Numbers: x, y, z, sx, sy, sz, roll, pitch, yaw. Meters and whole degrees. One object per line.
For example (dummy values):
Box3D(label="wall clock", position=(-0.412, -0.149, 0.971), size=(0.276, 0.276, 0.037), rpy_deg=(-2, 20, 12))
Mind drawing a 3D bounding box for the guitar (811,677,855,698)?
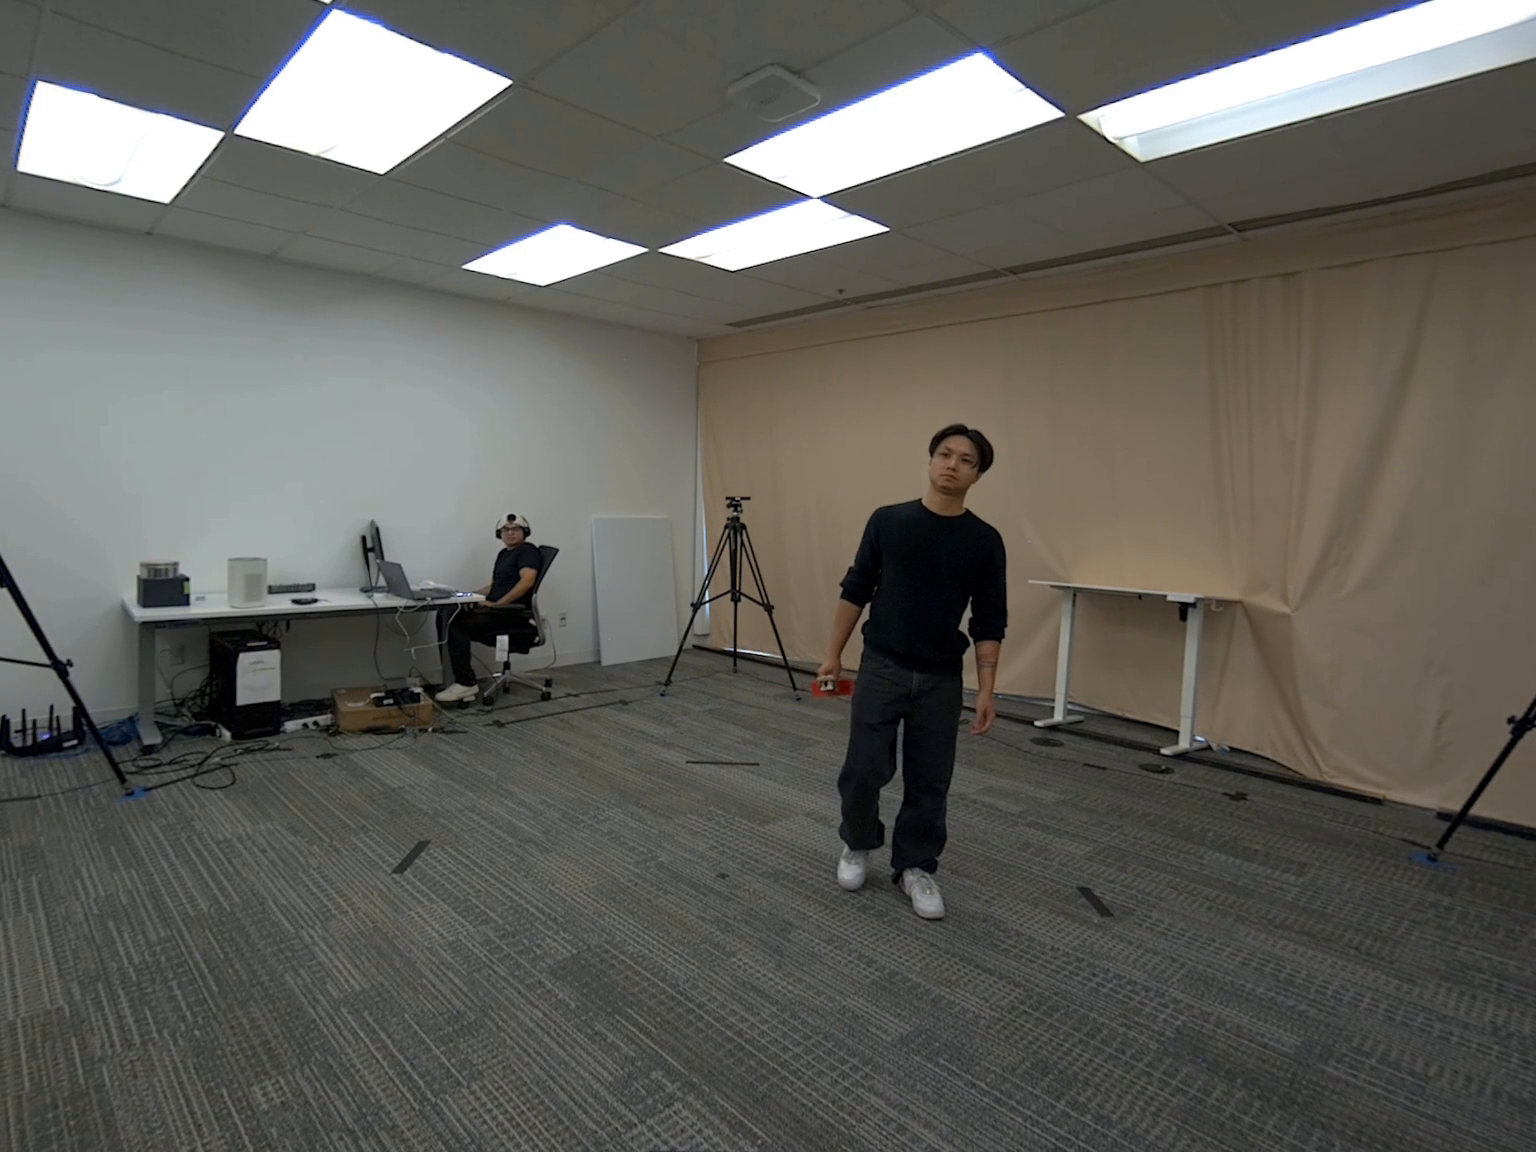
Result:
Box3D(label="guitar", position=(0.200, 0.412, 3.103), size=(0.195, 0.071, 0.488), rpy_deg=(-5, -9, 16))
